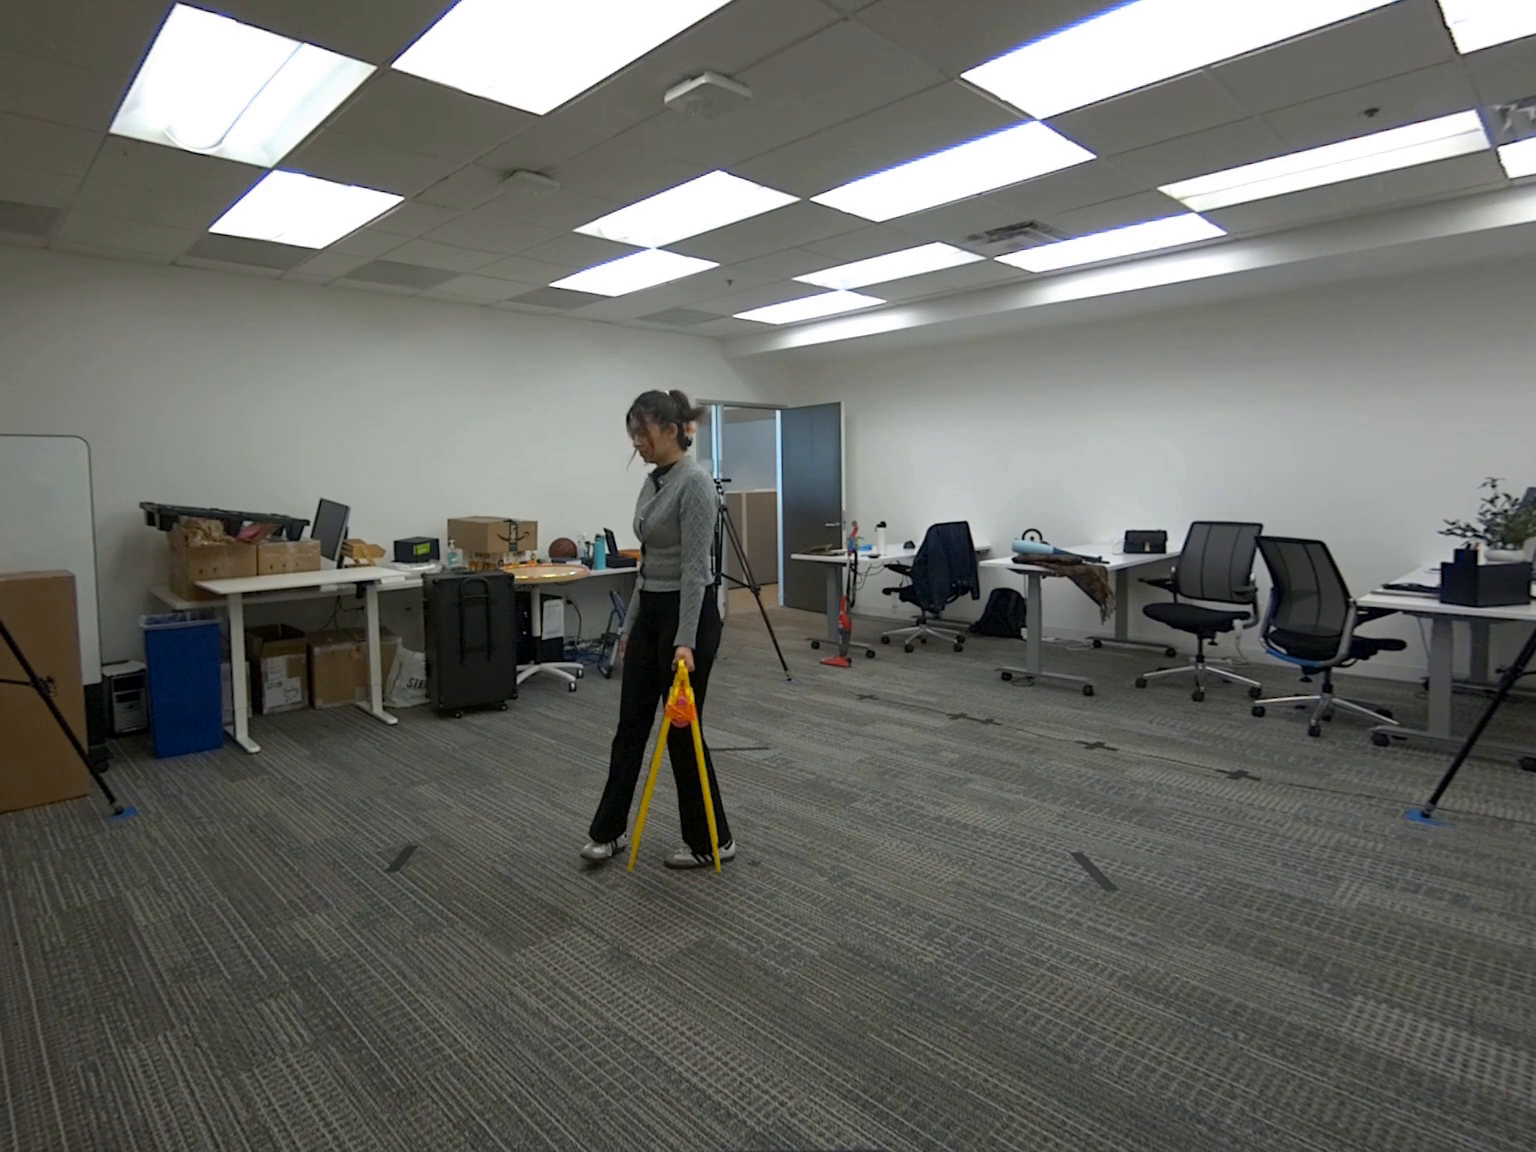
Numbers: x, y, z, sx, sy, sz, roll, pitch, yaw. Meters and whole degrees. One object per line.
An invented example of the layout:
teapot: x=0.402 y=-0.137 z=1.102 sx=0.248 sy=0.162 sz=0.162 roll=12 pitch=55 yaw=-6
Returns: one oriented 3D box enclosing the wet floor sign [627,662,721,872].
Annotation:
wet floor sign: x=-0.293 y=0.599 z=2.789 sx=0.288 sy=0.645 sz=0.284 roll=2 pitch=2 yaw=-6
